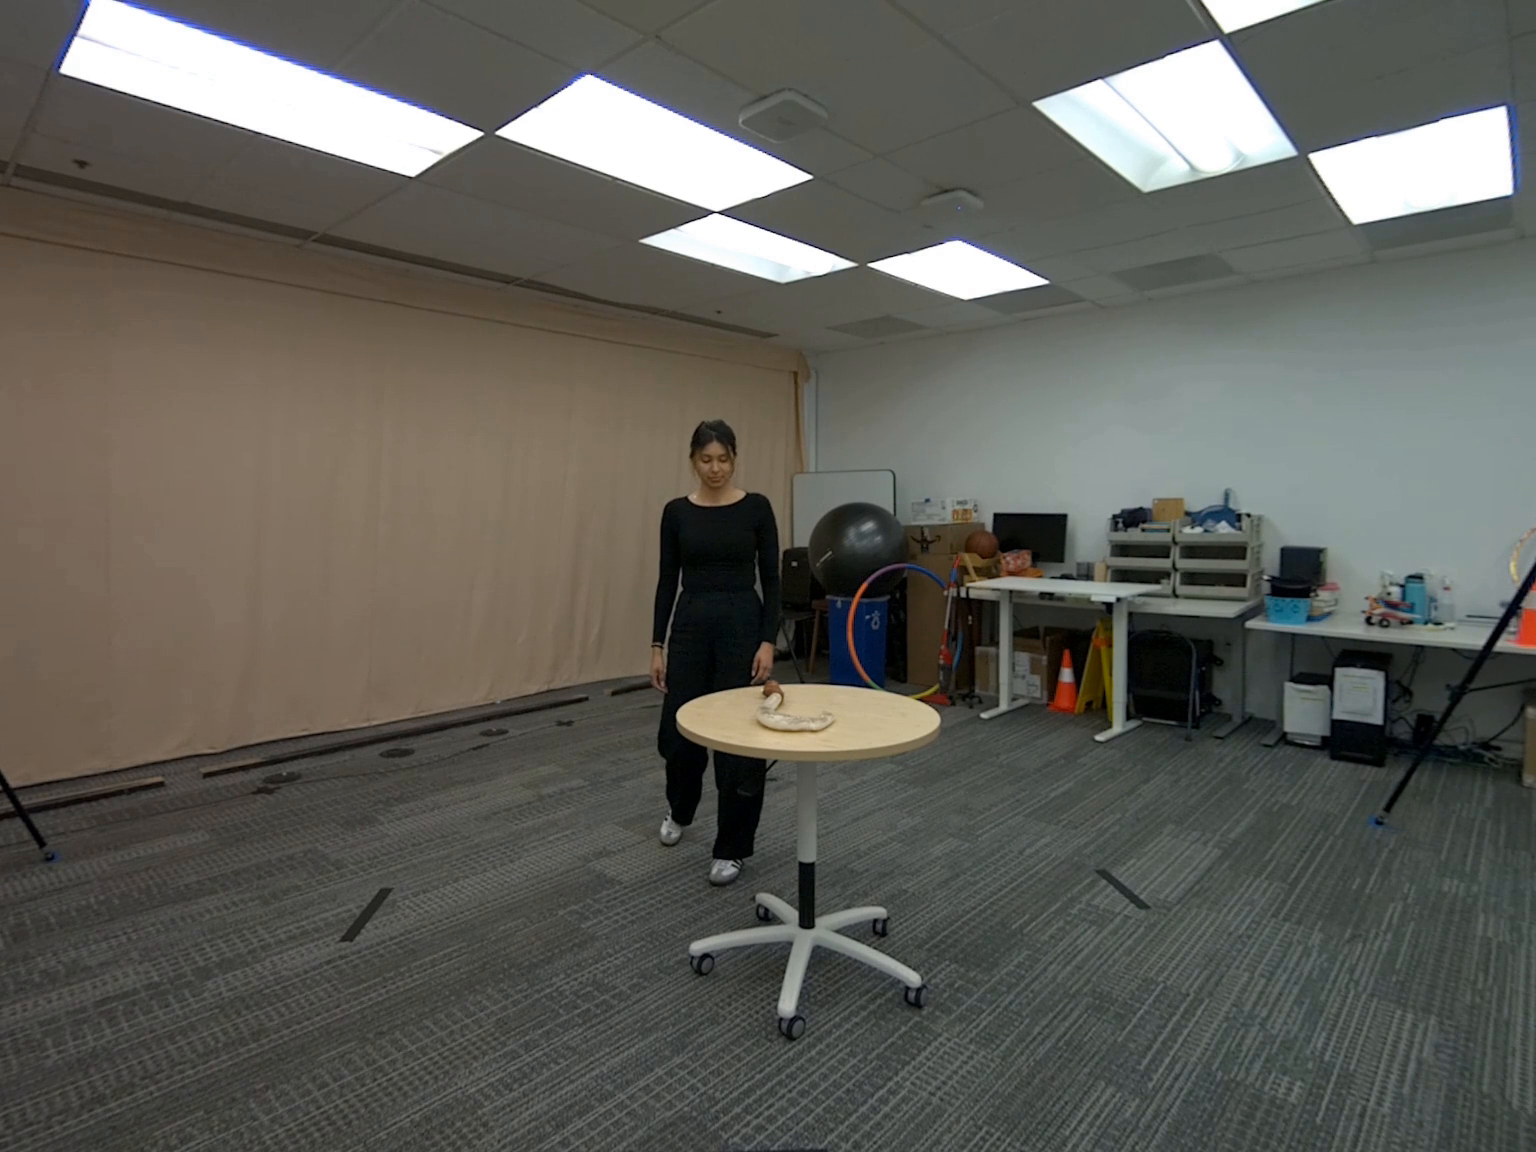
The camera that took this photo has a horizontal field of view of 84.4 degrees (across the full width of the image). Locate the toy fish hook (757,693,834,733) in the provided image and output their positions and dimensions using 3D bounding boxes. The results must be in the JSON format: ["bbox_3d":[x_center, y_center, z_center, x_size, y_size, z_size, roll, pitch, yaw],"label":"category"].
[{"bbox_3d":[0.079,0.388,2.508,0.224,0.048,0.508,6,6,-2],"label":"toy fish hook"}]
